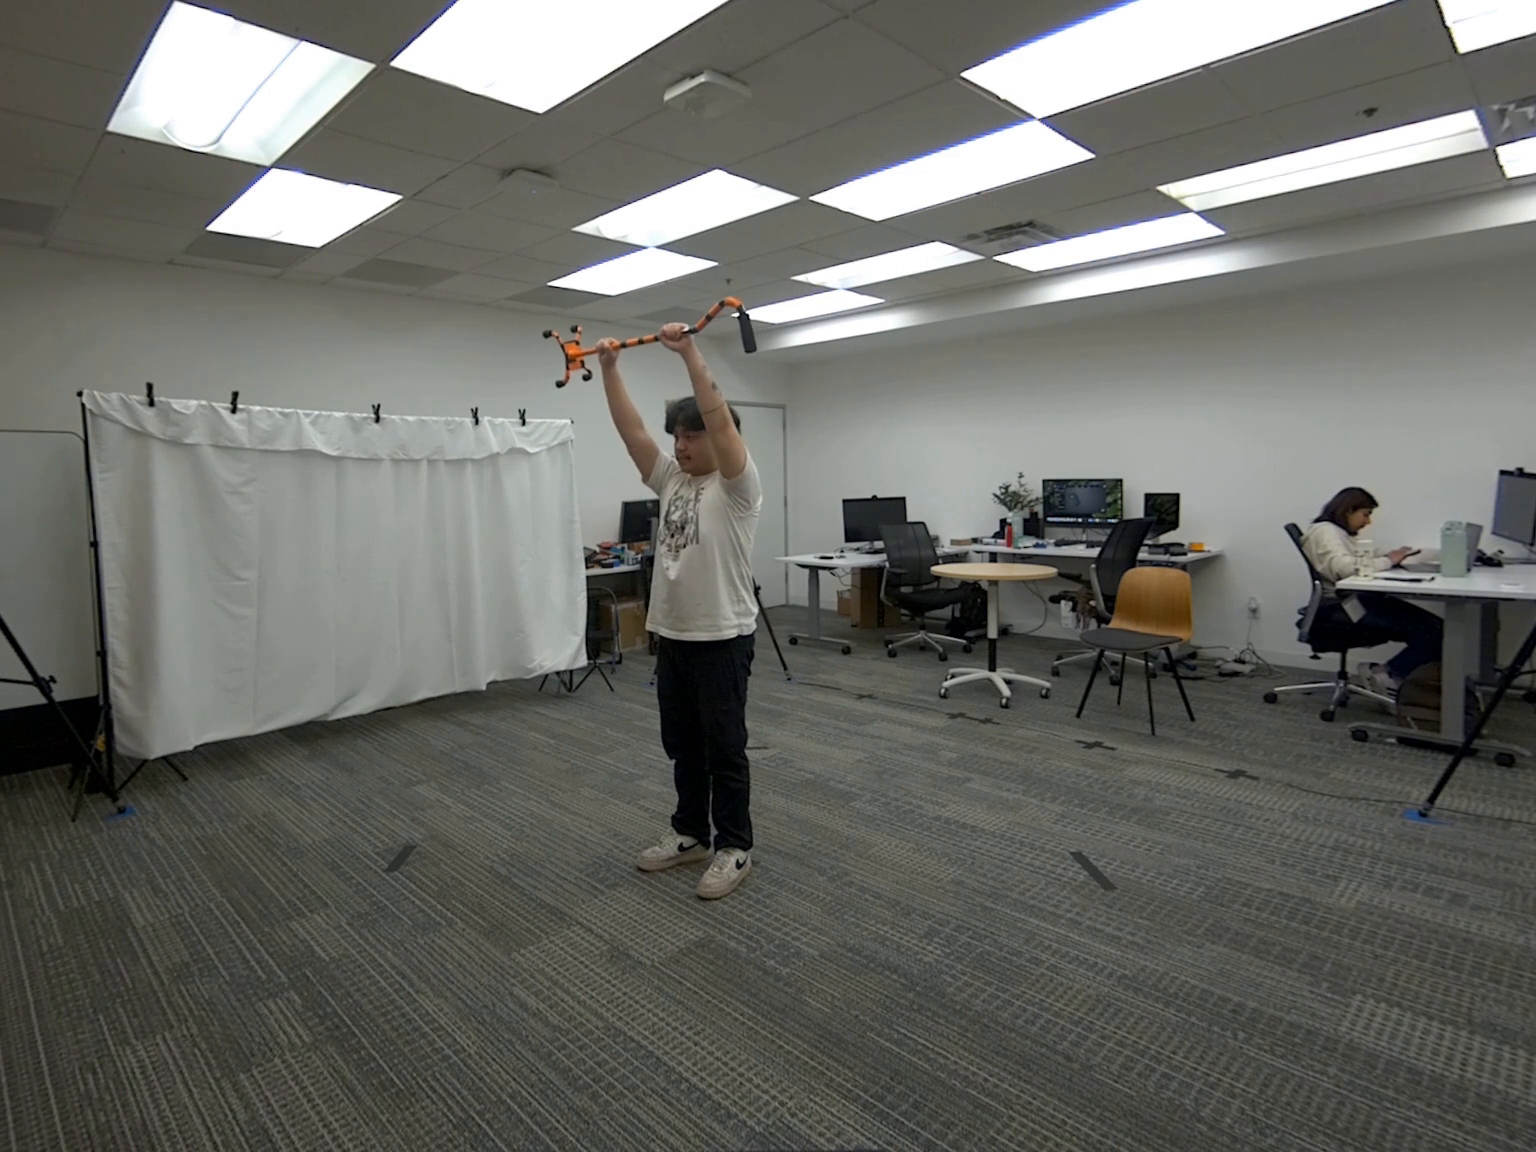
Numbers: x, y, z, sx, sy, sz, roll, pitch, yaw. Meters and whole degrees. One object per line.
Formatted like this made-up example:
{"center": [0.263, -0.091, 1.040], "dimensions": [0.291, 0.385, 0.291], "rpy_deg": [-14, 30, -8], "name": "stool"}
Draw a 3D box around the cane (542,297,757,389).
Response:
{"center": [-0.390, -0.762, 2.749], "dimensions": [0.936, 0.203, 0.149], "rpy_deg": [5, 23, 44], "name": "cane"}
